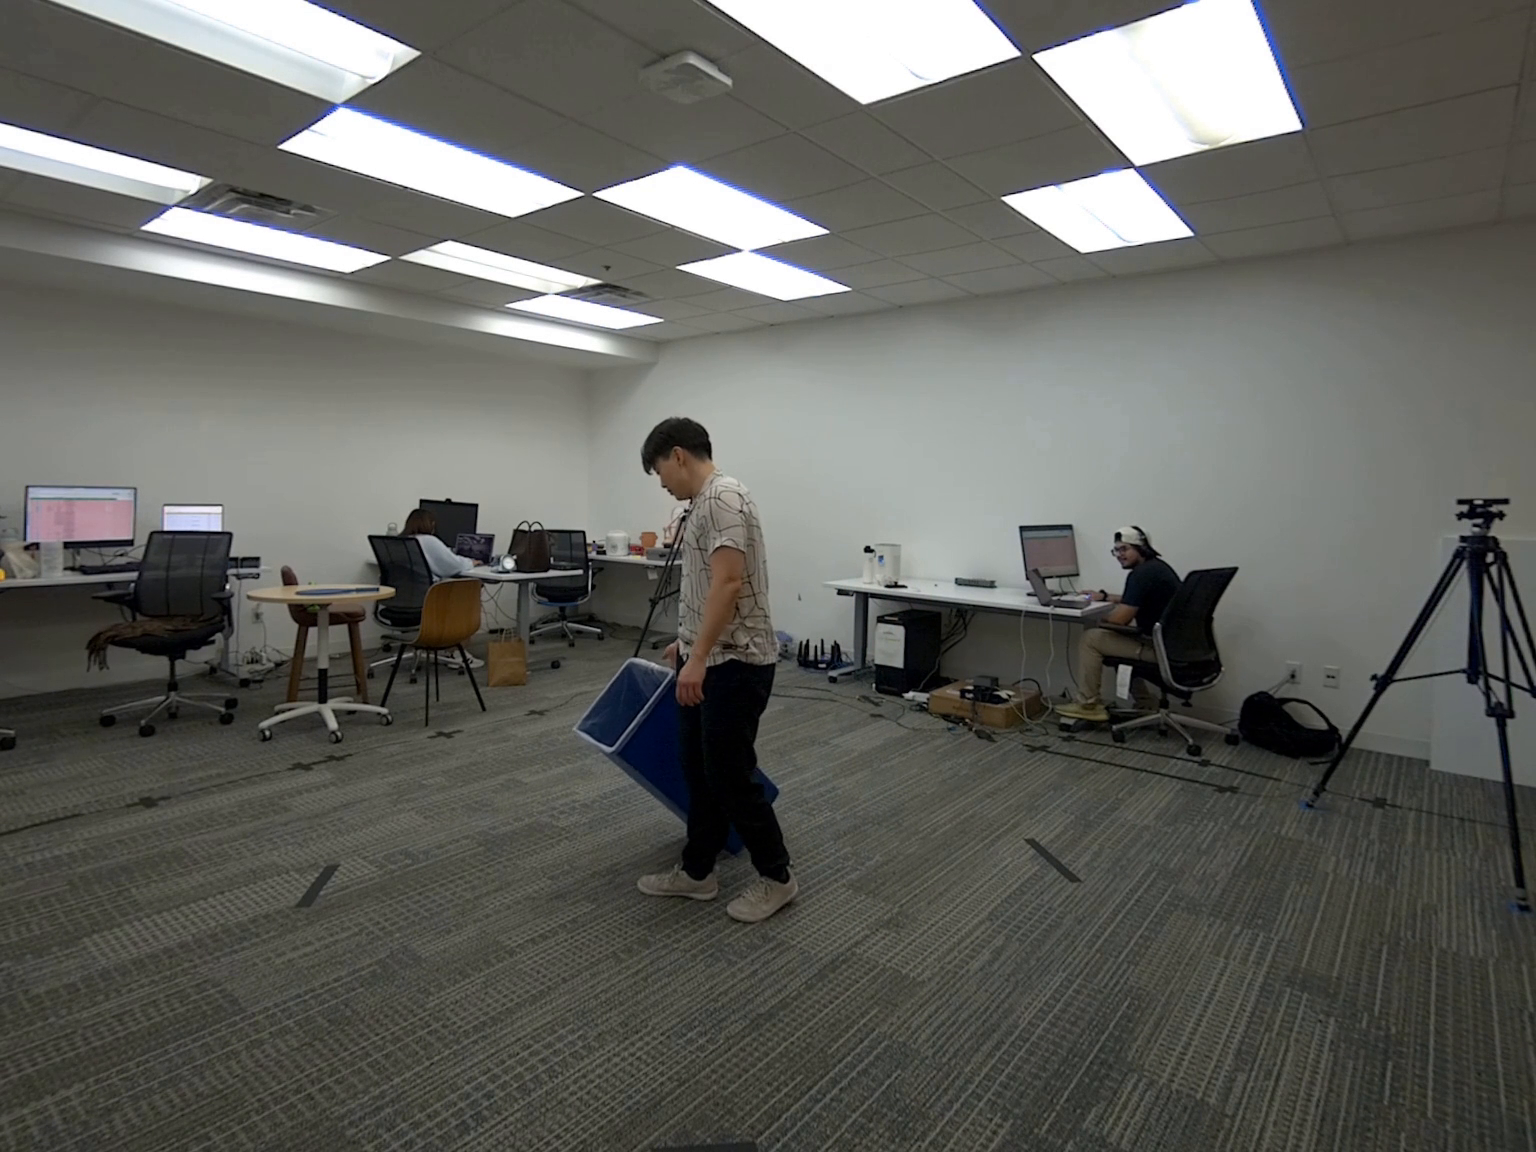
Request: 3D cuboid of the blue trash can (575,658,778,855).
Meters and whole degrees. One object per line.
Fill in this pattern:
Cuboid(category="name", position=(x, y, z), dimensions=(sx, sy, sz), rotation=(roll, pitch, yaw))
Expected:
Cuboid(category="blue trash can", position=(-0.347, 0.702, 3.244), dimensions=(0.374, 0.693, 0.389), rotation=(-50, 25, -22))
